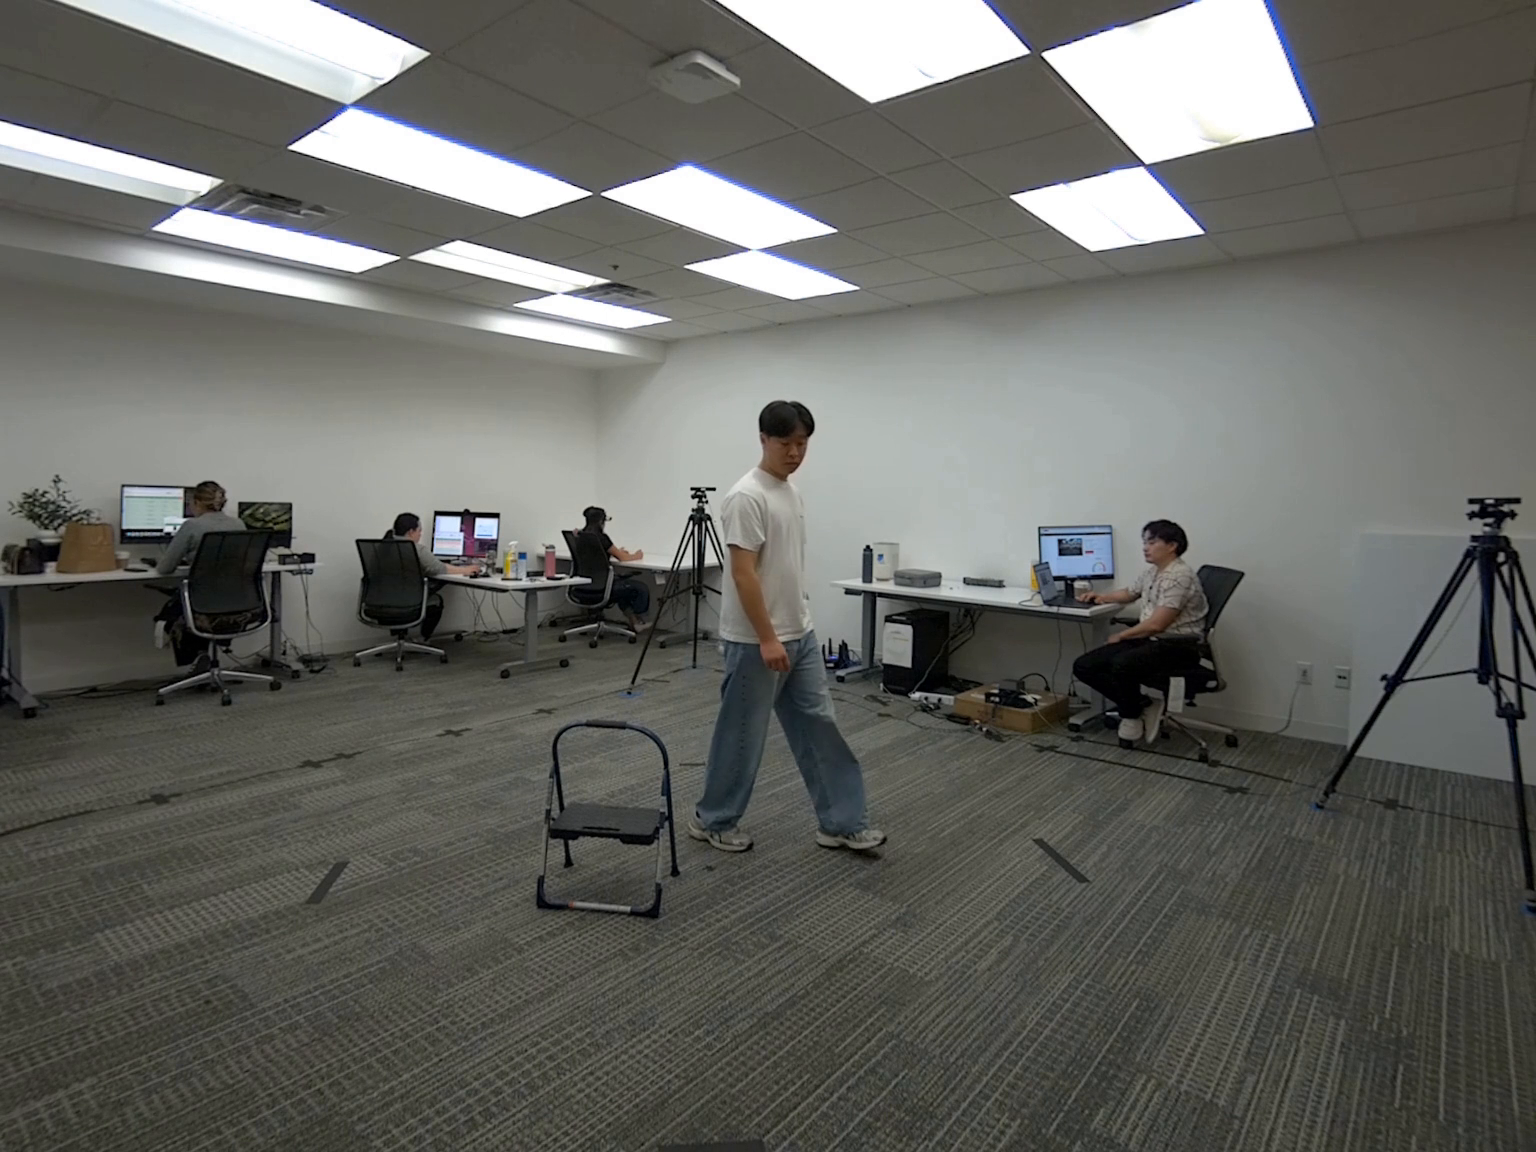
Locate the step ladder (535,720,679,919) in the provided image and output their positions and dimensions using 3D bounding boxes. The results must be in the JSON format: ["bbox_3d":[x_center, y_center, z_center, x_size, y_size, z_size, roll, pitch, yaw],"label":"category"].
[{"bbox_3d":[-0.551,0.776,2.910,0.434,0.604,0.348,1,3,6],"label":"step ladder"}]
